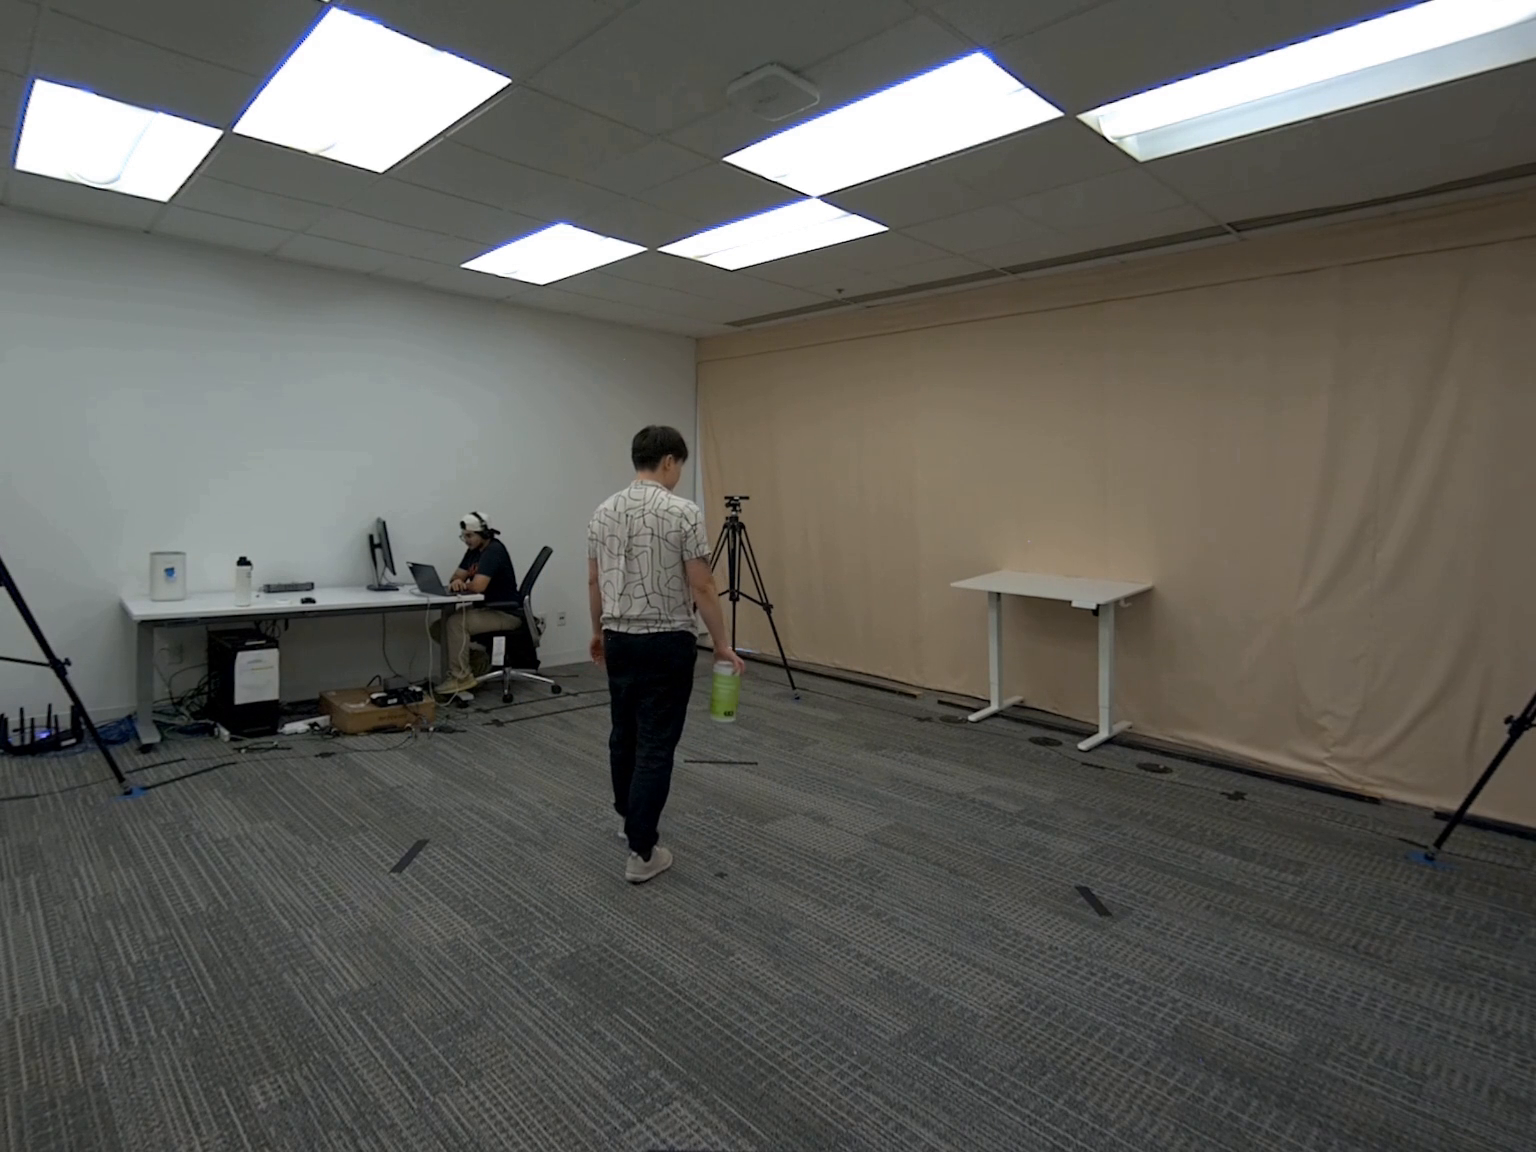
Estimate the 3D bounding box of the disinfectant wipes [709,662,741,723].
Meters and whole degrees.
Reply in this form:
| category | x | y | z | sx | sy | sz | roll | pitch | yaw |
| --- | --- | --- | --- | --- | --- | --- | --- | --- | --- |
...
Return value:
| category | x | y | z | sx | sy | sz | roll | pitch | yaw |
| --- | --- | --- | --- | --- | --- | --- | --- | --- | --- |
| disinfectant wipes | -0.178 | 0.443 | 3.237 | 0.117 | 0.216 | 0.118 | 6 | 7 | -2 |
